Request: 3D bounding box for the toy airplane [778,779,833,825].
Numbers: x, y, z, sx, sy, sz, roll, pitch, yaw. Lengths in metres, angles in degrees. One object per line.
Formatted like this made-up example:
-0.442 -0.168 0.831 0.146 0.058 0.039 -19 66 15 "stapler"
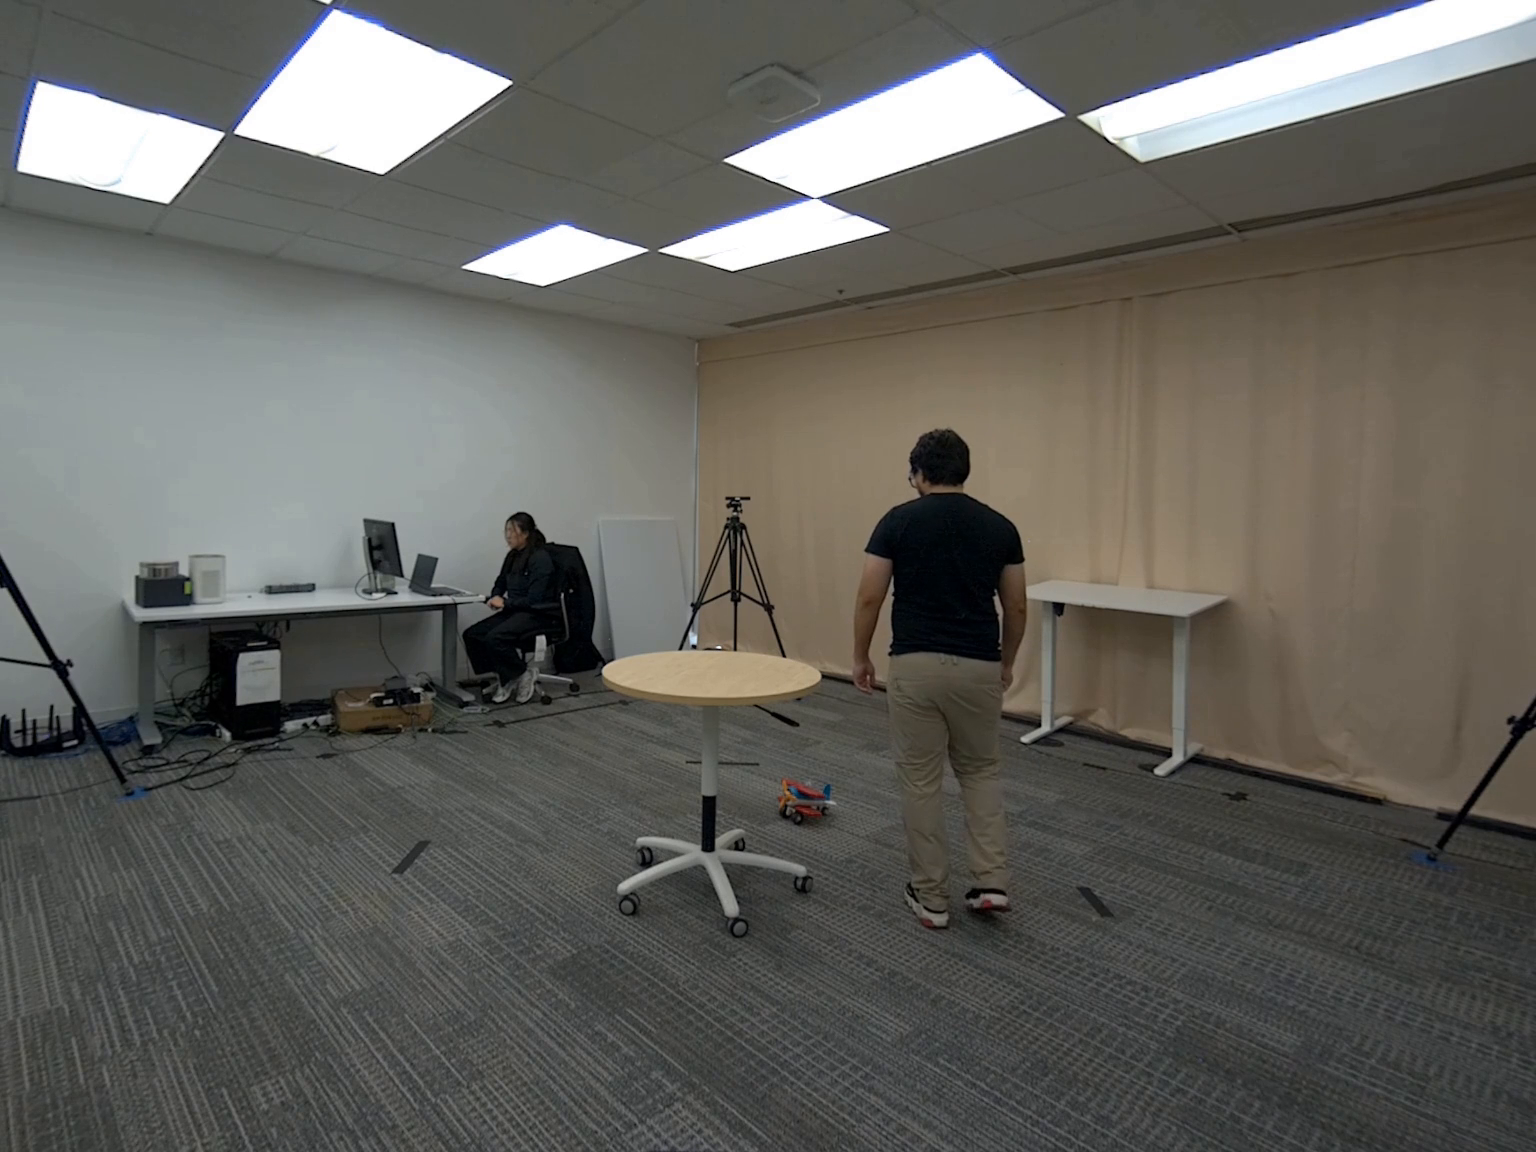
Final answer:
0.150 0.984 3.720 0.256 0.156 0.255 2 6 27 "toy airplane"
